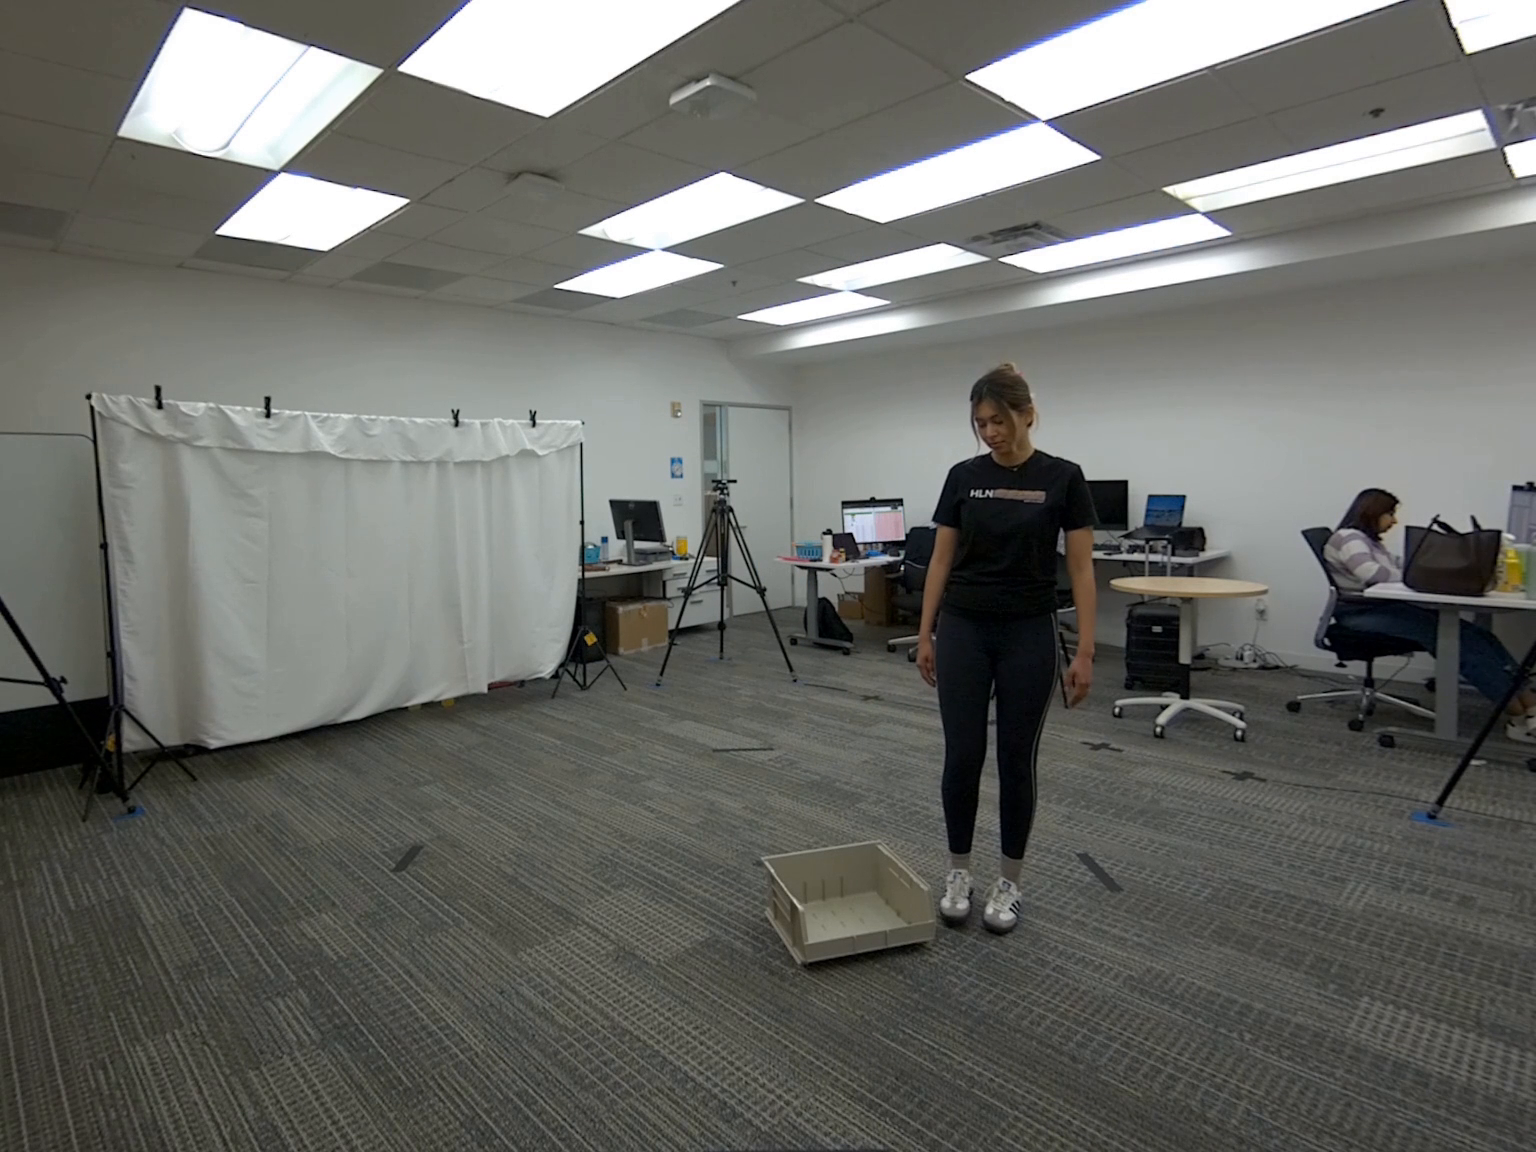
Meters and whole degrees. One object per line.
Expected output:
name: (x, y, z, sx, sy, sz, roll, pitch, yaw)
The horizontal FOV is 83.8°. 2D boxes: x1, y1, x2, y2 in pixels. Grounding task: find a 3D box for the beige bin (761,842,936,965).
beige bin: (0.245, 1.008, 2.632, 0.416, 0.188, 0.384, -4, 6, -17)
